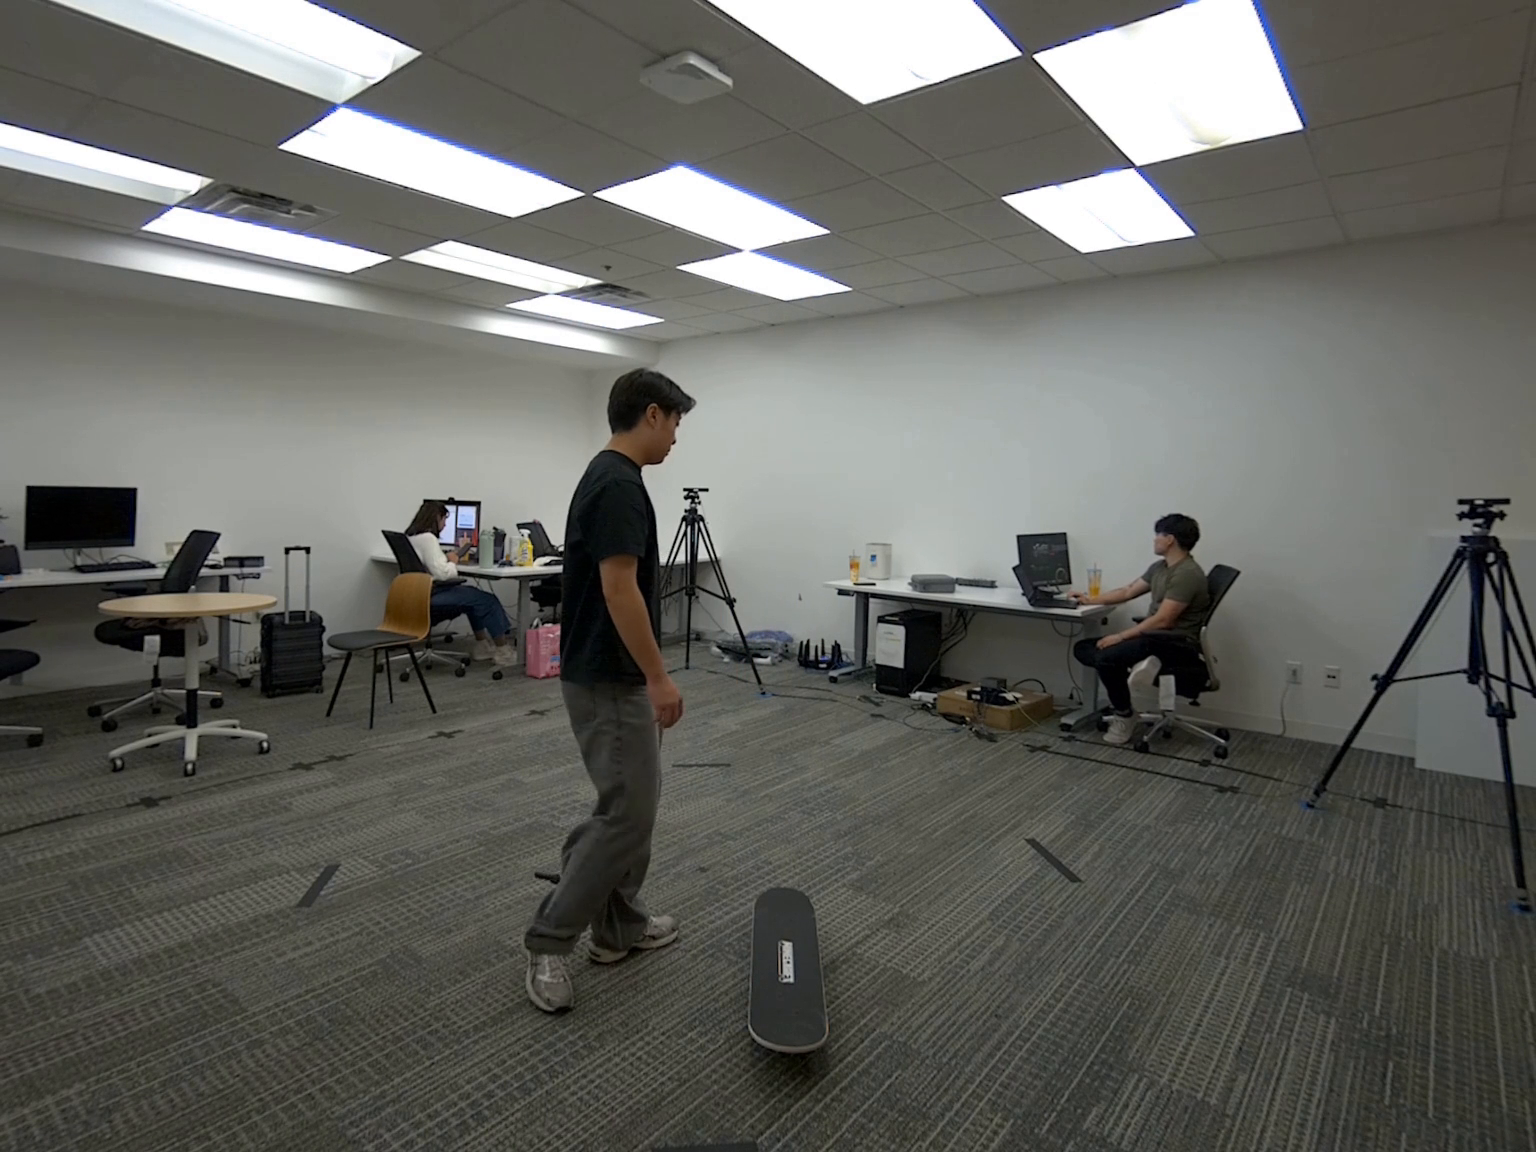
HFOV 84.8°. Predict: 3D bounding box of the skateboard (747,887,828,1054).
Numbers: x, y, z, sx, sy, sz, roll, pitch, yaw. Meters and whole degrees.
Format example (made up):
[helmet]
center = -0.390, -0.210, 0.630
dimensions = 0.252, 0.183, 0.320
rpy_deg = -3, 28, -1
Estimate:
[skateboard]
center = 0.042, 1.089, 2.359
dimensions = 0.194, 0.110, 0.787
rpy_deg = 3, 6, 0
